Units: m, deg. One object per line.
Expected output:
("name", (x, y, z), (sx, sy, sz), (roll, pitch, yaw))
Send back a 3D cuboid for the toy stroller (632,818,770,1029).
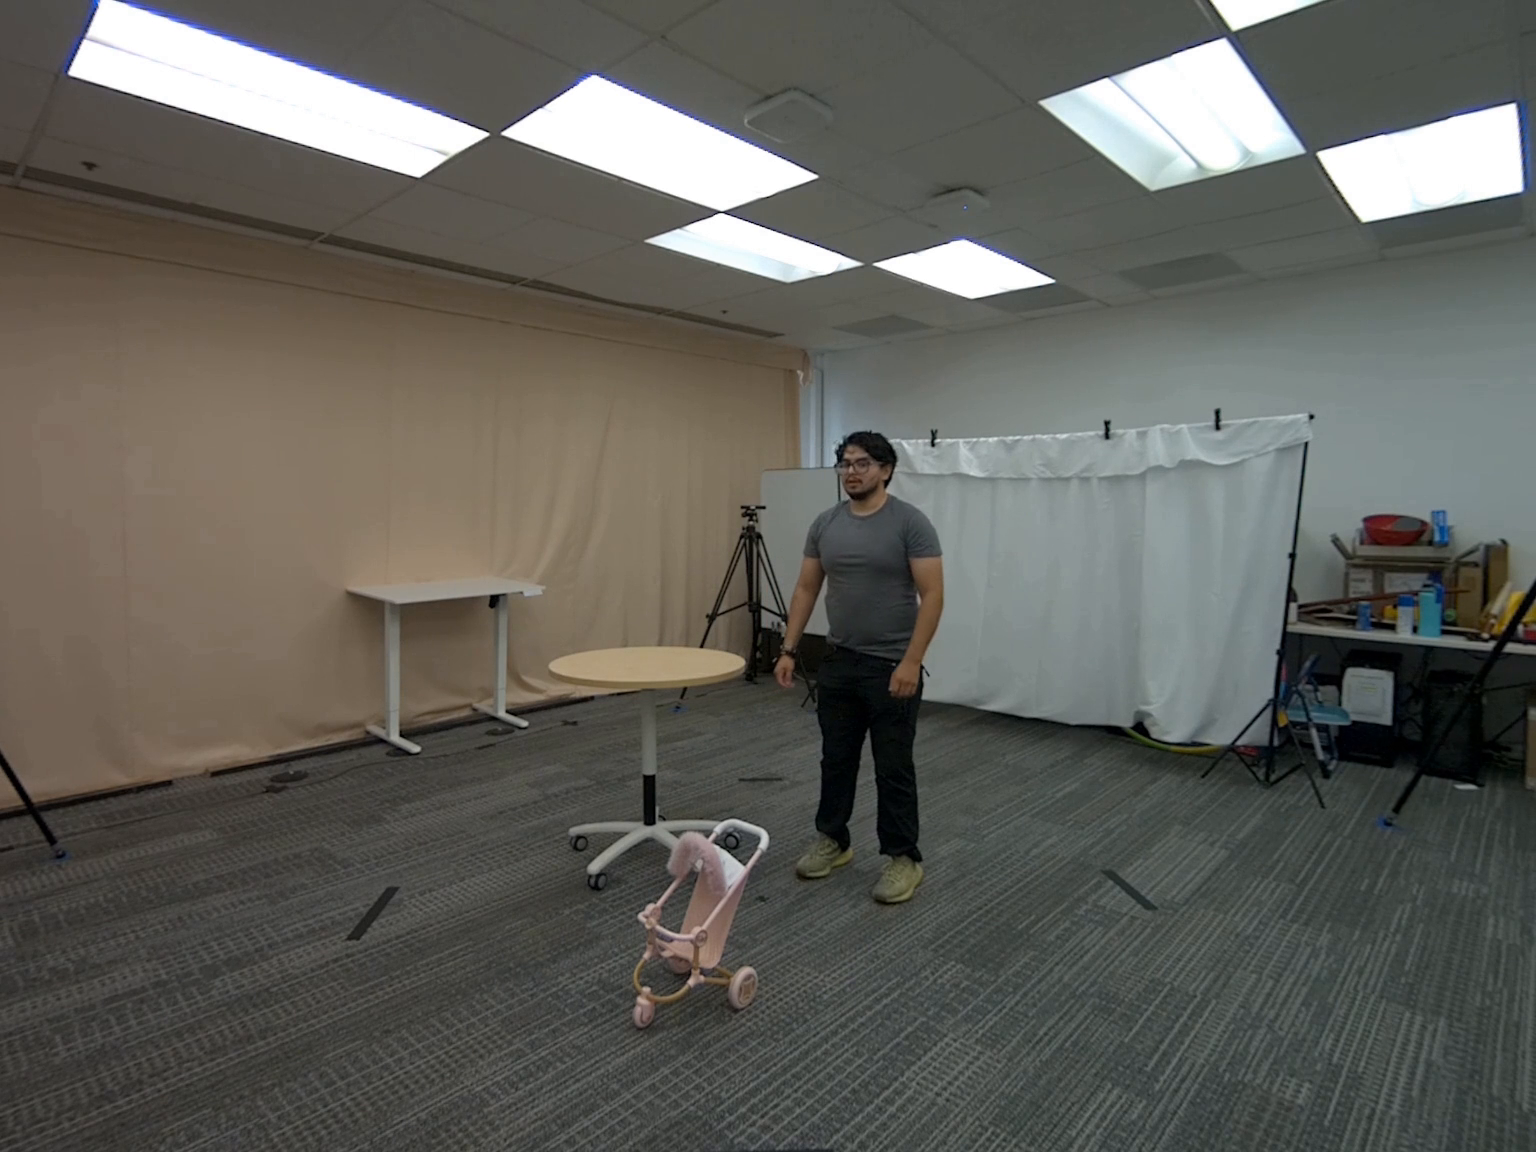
("toy stroller", (-0.204, 0.969, 2.371), (0.329, 0.536, 0.291), (16, -9, -41))
